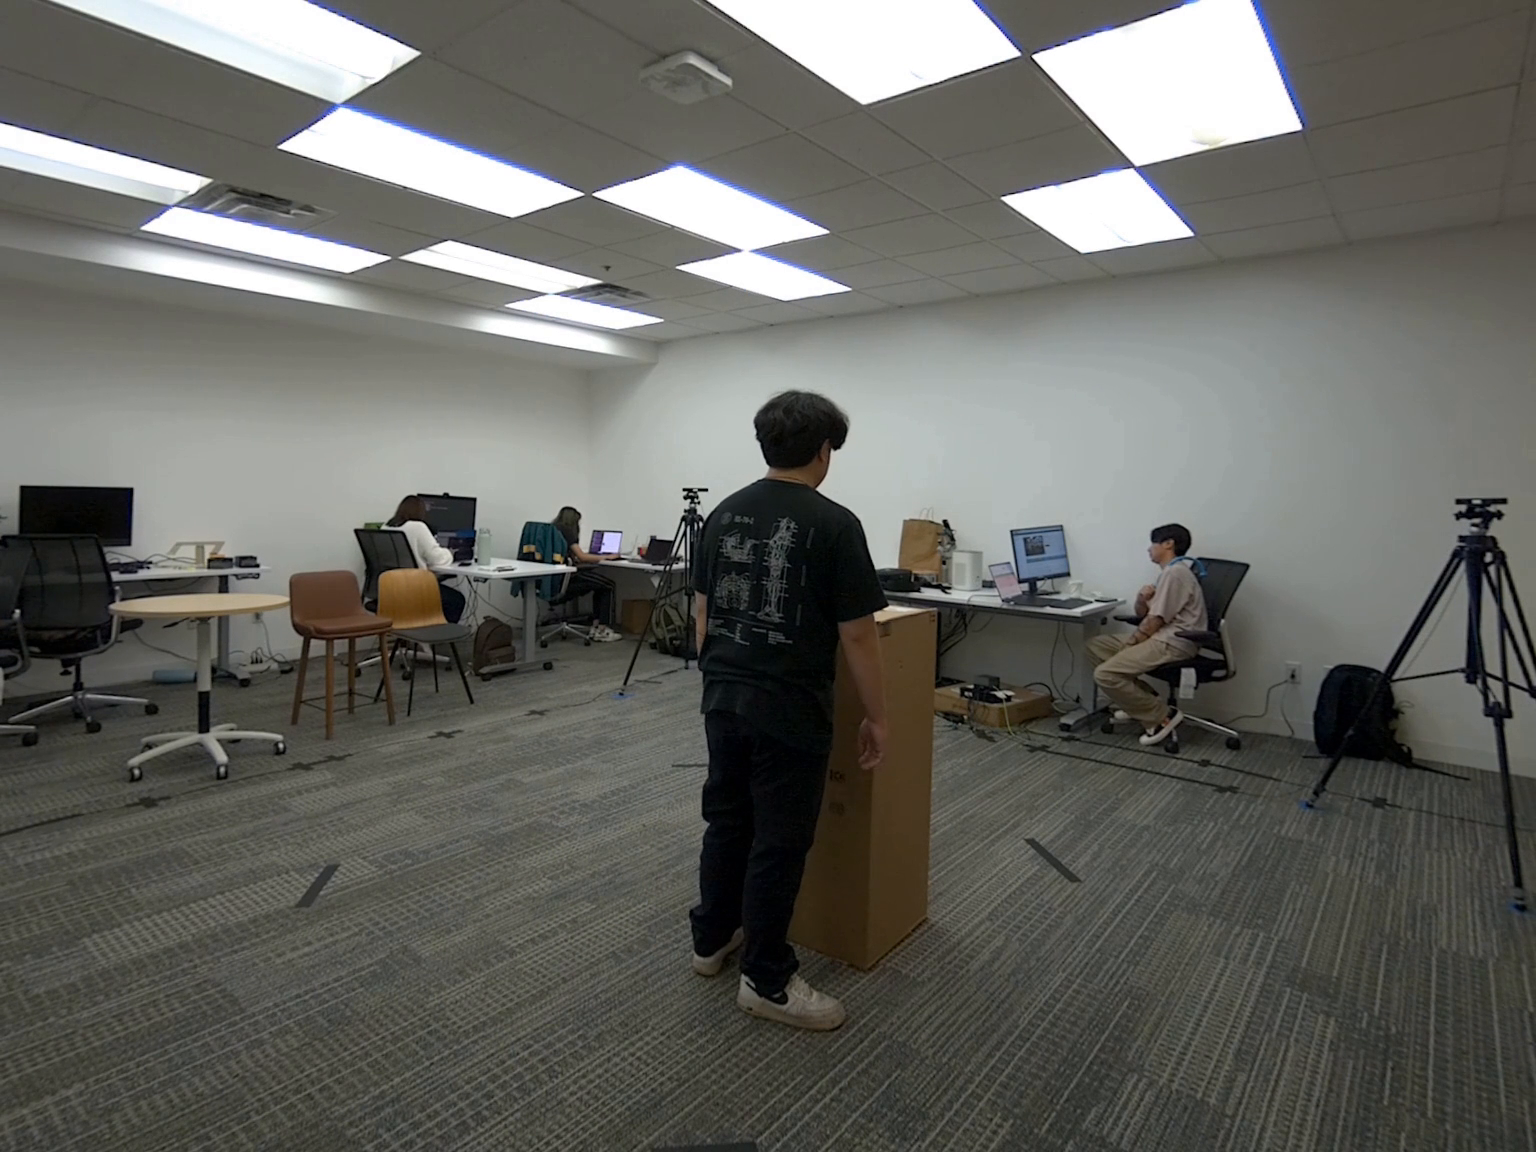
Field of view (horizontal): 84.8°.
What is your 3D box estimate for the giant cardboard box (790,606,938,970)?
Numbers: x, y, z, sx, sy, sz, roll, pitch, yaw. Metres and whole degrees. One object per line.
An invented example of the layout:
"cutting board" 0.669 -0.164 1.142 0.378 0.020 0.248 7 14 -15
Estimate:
"giant cardboard box" 0.178 0.600 2.782 0.603 1.025 0.433 4 3 37
